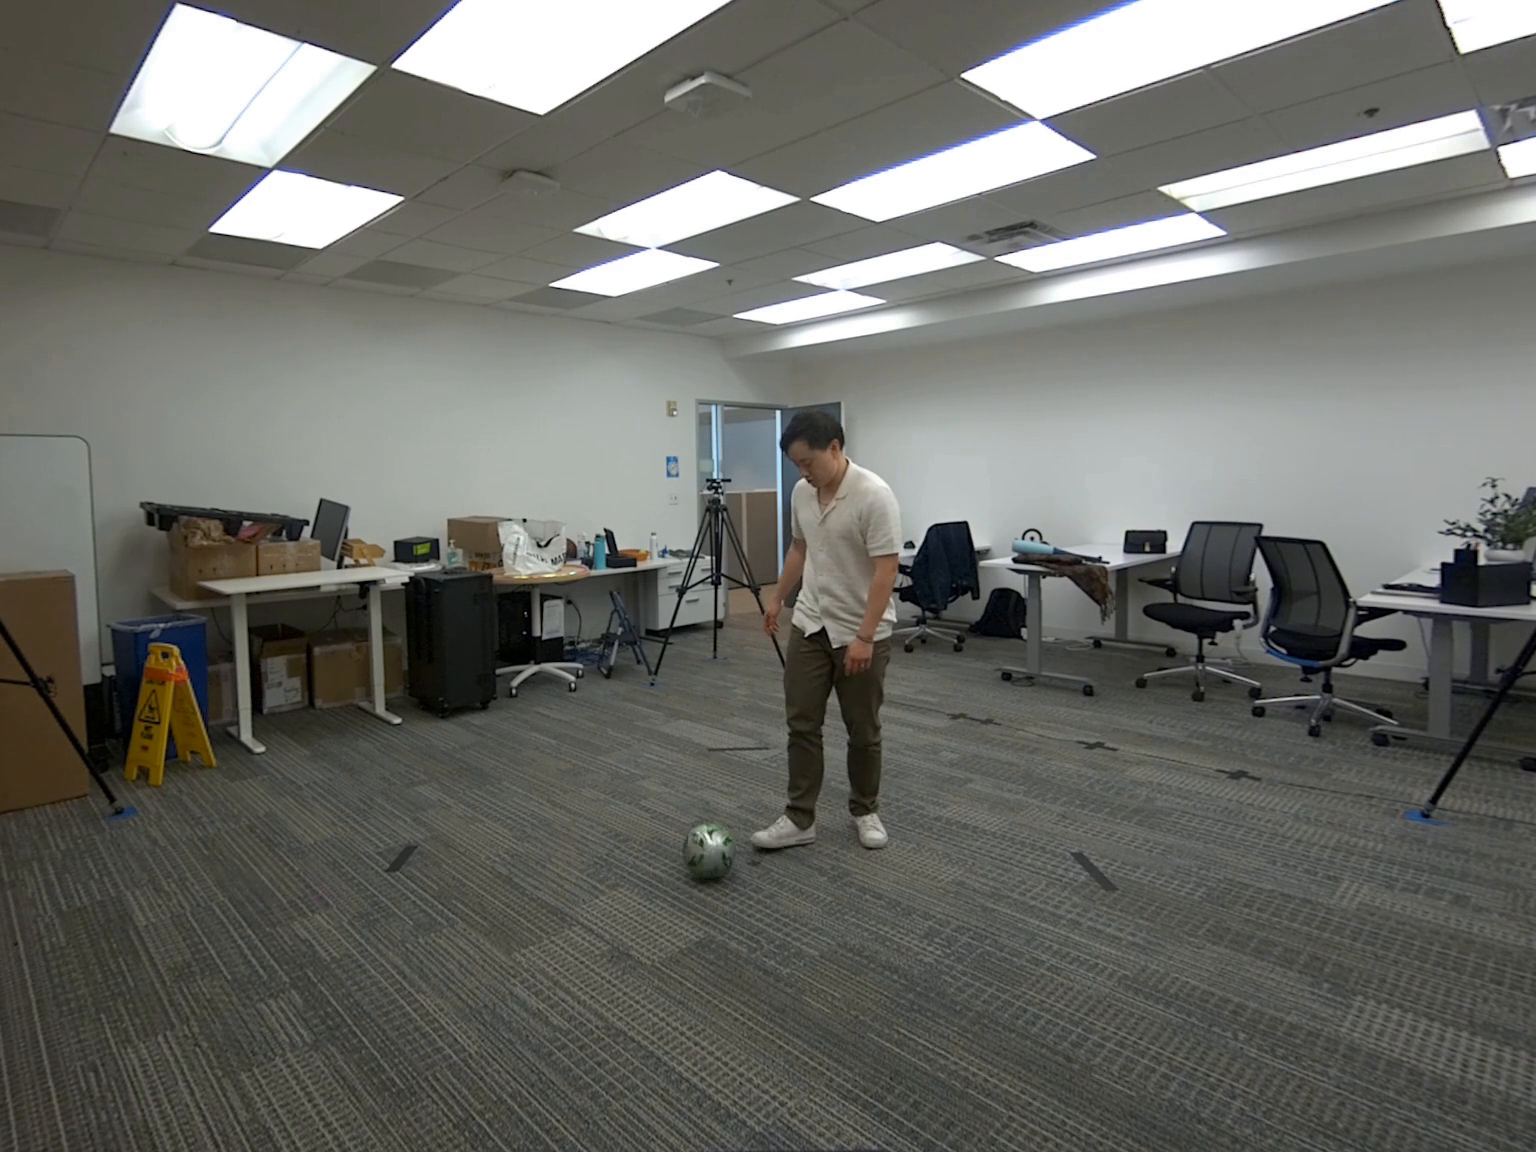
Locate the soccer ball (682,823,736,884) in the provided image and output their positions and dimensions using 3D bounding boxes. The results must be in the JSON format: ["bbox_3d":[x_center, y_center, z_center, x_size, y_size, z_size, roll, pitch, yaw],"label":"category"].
[{"bbox_3d":[-0.204,0.968,2.997,0.187,0.187,0.188,-1,5,-2],"label":"soccer ball"}]
